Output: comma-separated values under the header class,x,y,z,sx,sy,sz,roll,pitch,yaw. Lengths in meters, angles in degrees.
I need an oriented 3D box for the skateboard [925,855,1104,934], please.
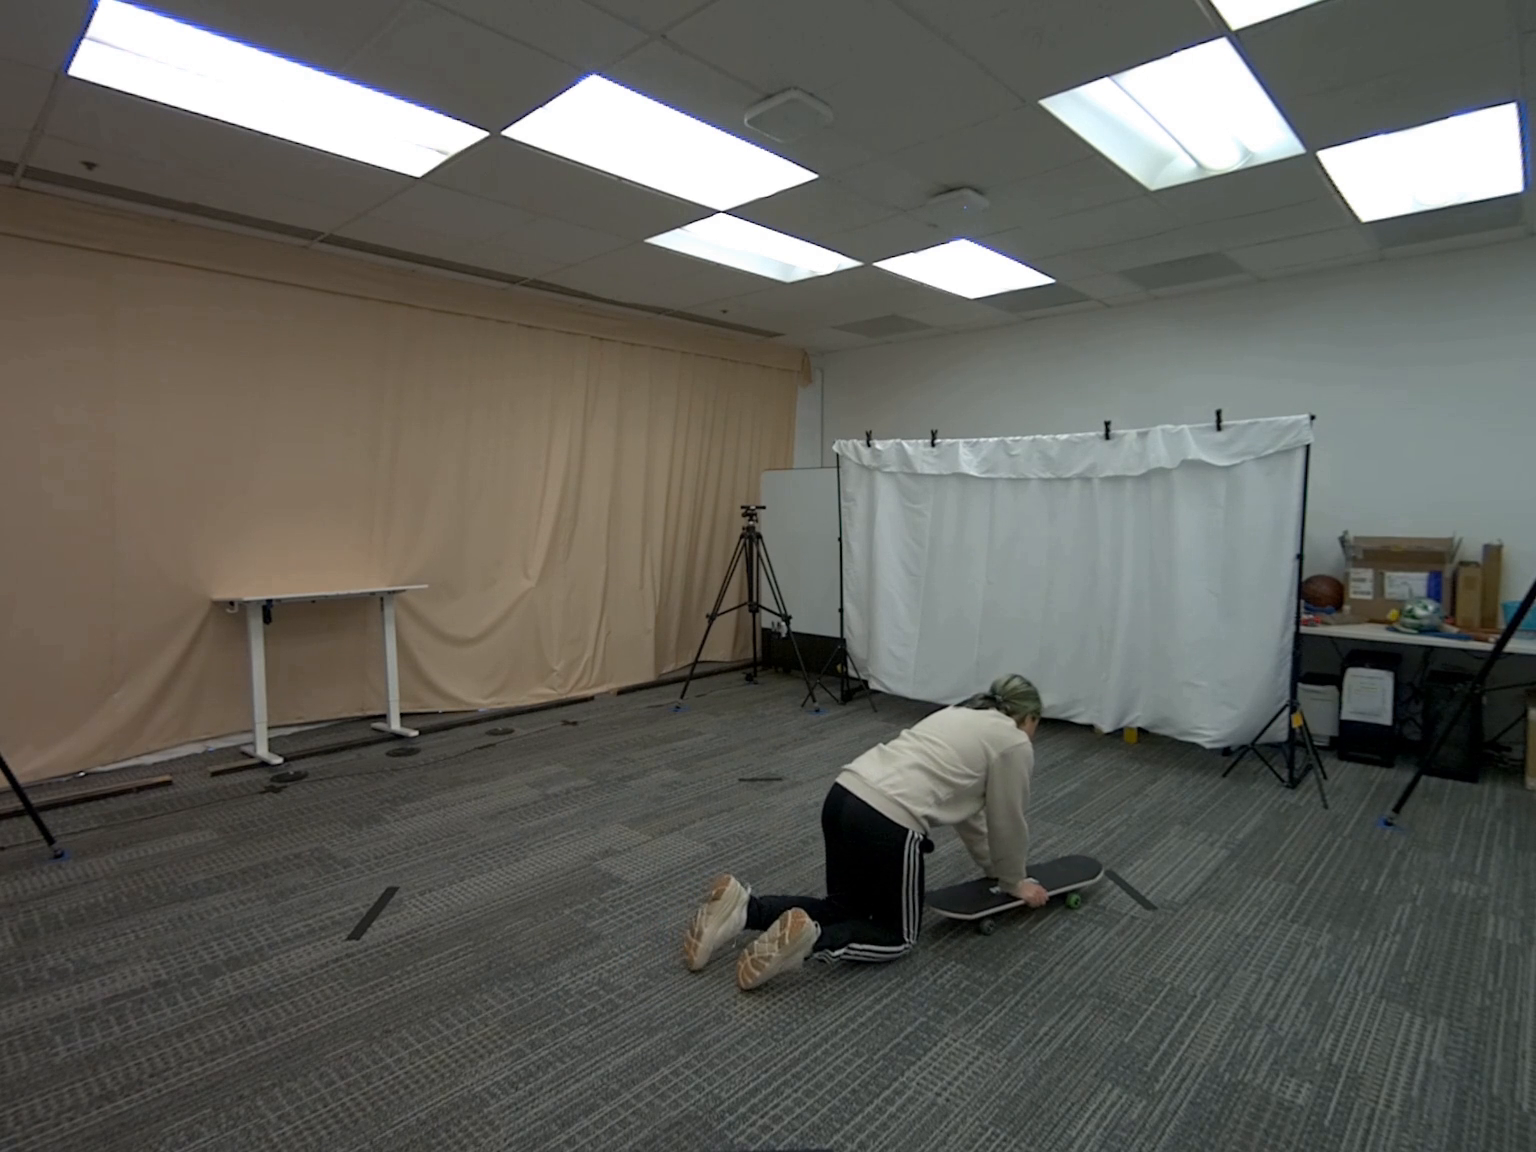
class,x,y,z,sx,sy,sz,roll,pitch,yaw
skateboard,0.844,1.095,2.886,0.766,0.110,0.199,-2,4,-27
